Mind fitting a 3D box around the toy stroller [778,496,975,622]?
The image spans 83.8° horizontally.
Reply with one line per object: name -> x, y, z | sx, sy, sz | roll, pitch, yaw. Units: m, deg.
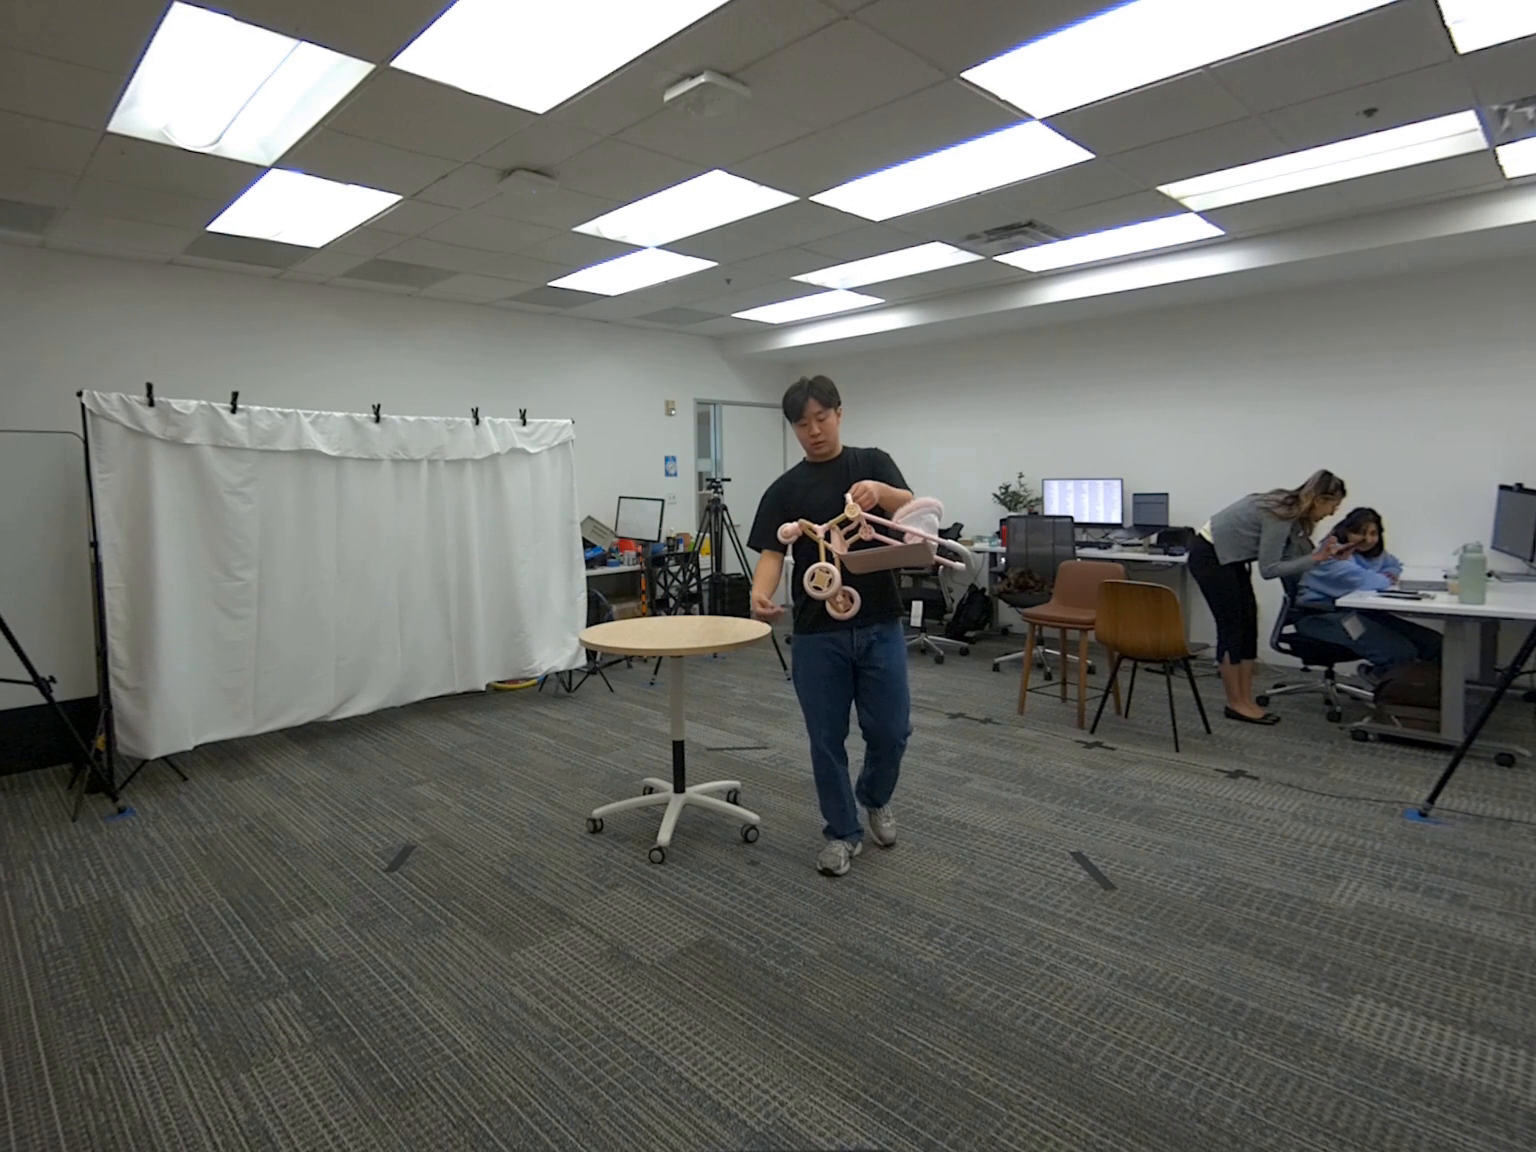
toy stroller -> 0.304, -0.086, 2.602 | 0.539, 0.351, 0.271 | -21, -28, 14
